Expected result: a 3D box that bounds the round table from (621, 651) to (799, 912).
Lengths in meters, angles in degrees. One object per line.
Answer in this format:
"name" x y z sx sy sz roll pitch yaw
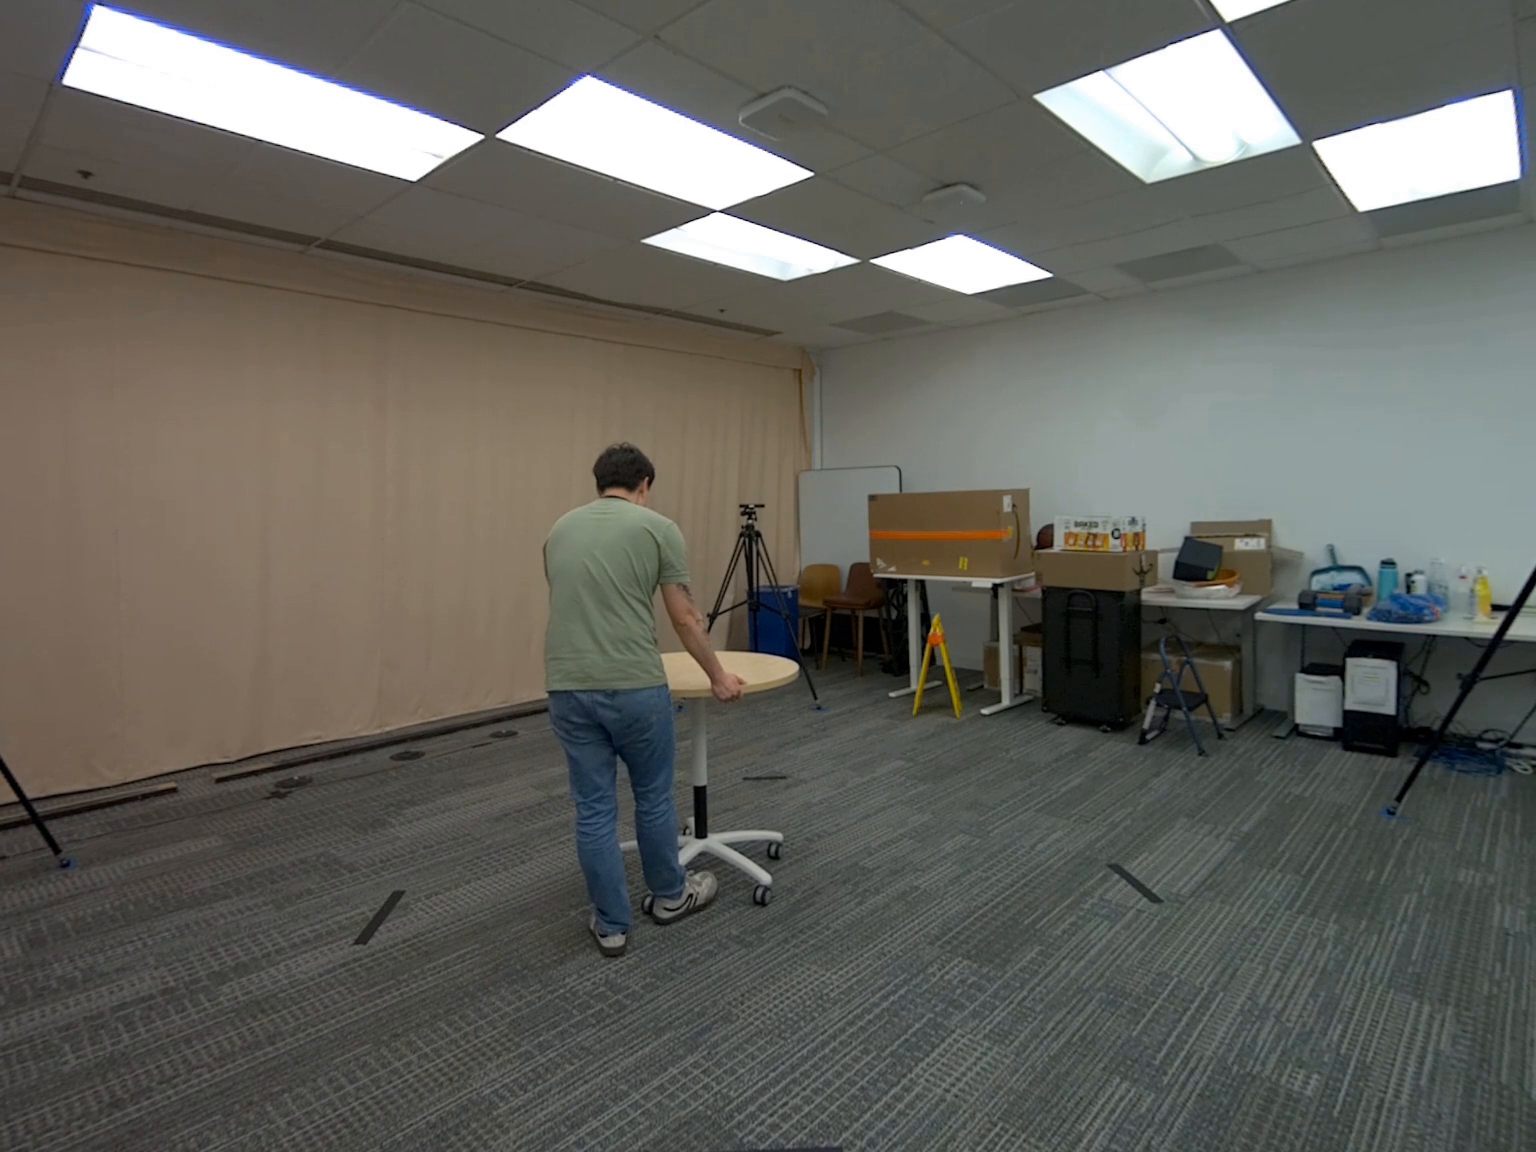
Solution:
"round table" -0.250 0.740 3.168 0.763 0.792 0.766 -2 3 -2
